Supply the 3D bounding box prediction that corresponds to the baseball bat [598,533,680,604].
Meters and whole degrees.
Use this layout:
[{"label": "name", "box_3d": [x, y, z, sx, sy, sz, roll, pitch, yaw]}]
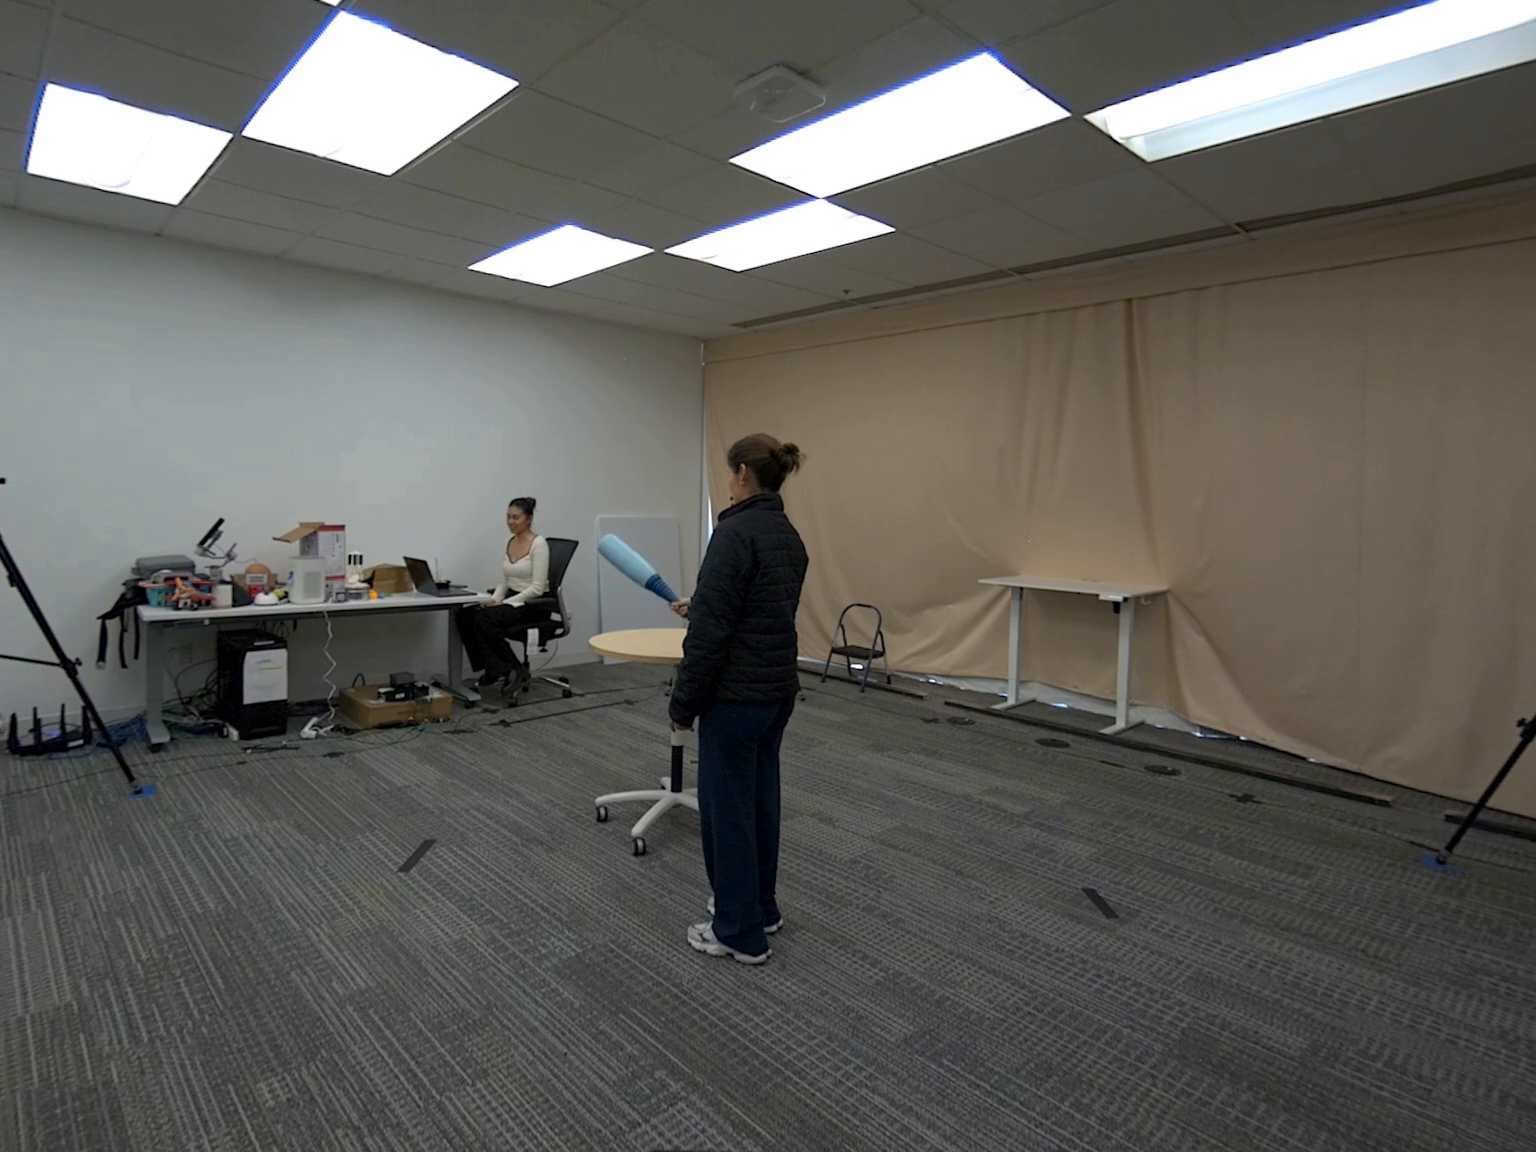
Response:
[{"label": "baseball bat", "box_3d": [-0.392, 0.021, 2.933, 0.555, 0.089, 0.087, 39, 20, 22]}]
